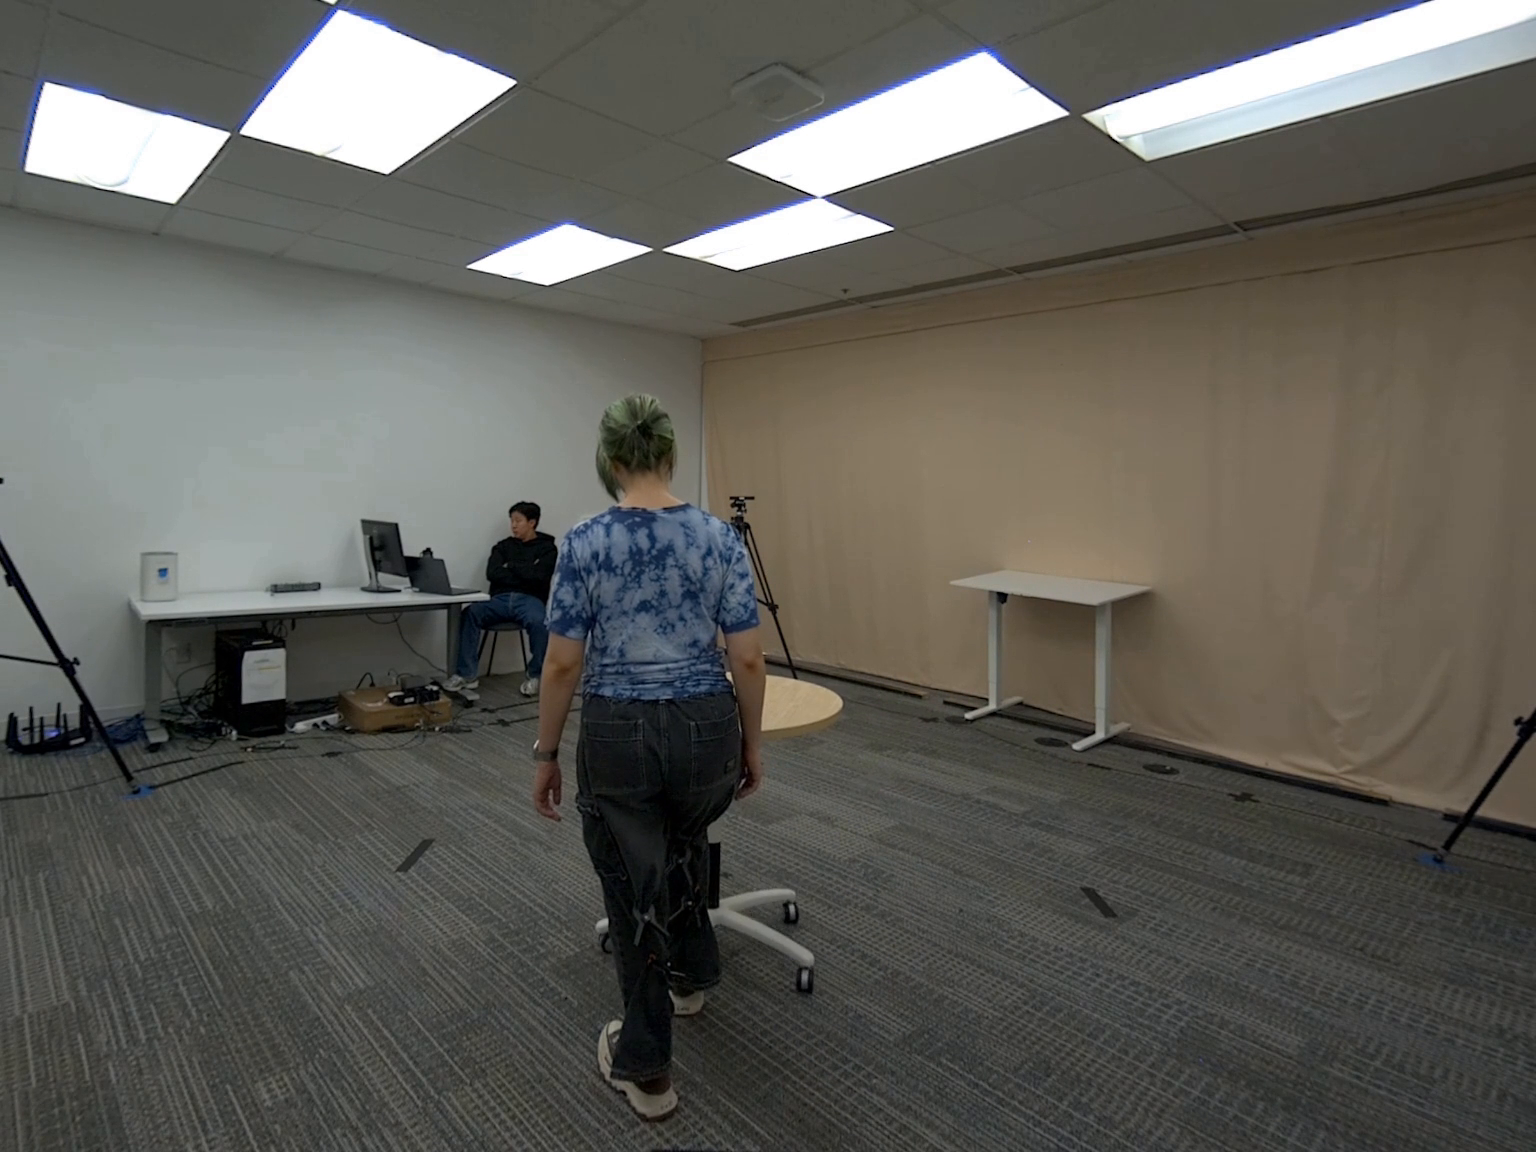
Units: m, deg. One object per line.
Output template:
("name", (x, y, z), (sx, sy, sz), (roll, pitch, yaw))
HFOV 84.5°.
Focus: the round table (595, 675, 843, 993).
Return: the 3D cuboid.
("round table", (-0.169, 0.766, 2.573), (0.763, 0.791, 0.767), (1, 5, -1))
